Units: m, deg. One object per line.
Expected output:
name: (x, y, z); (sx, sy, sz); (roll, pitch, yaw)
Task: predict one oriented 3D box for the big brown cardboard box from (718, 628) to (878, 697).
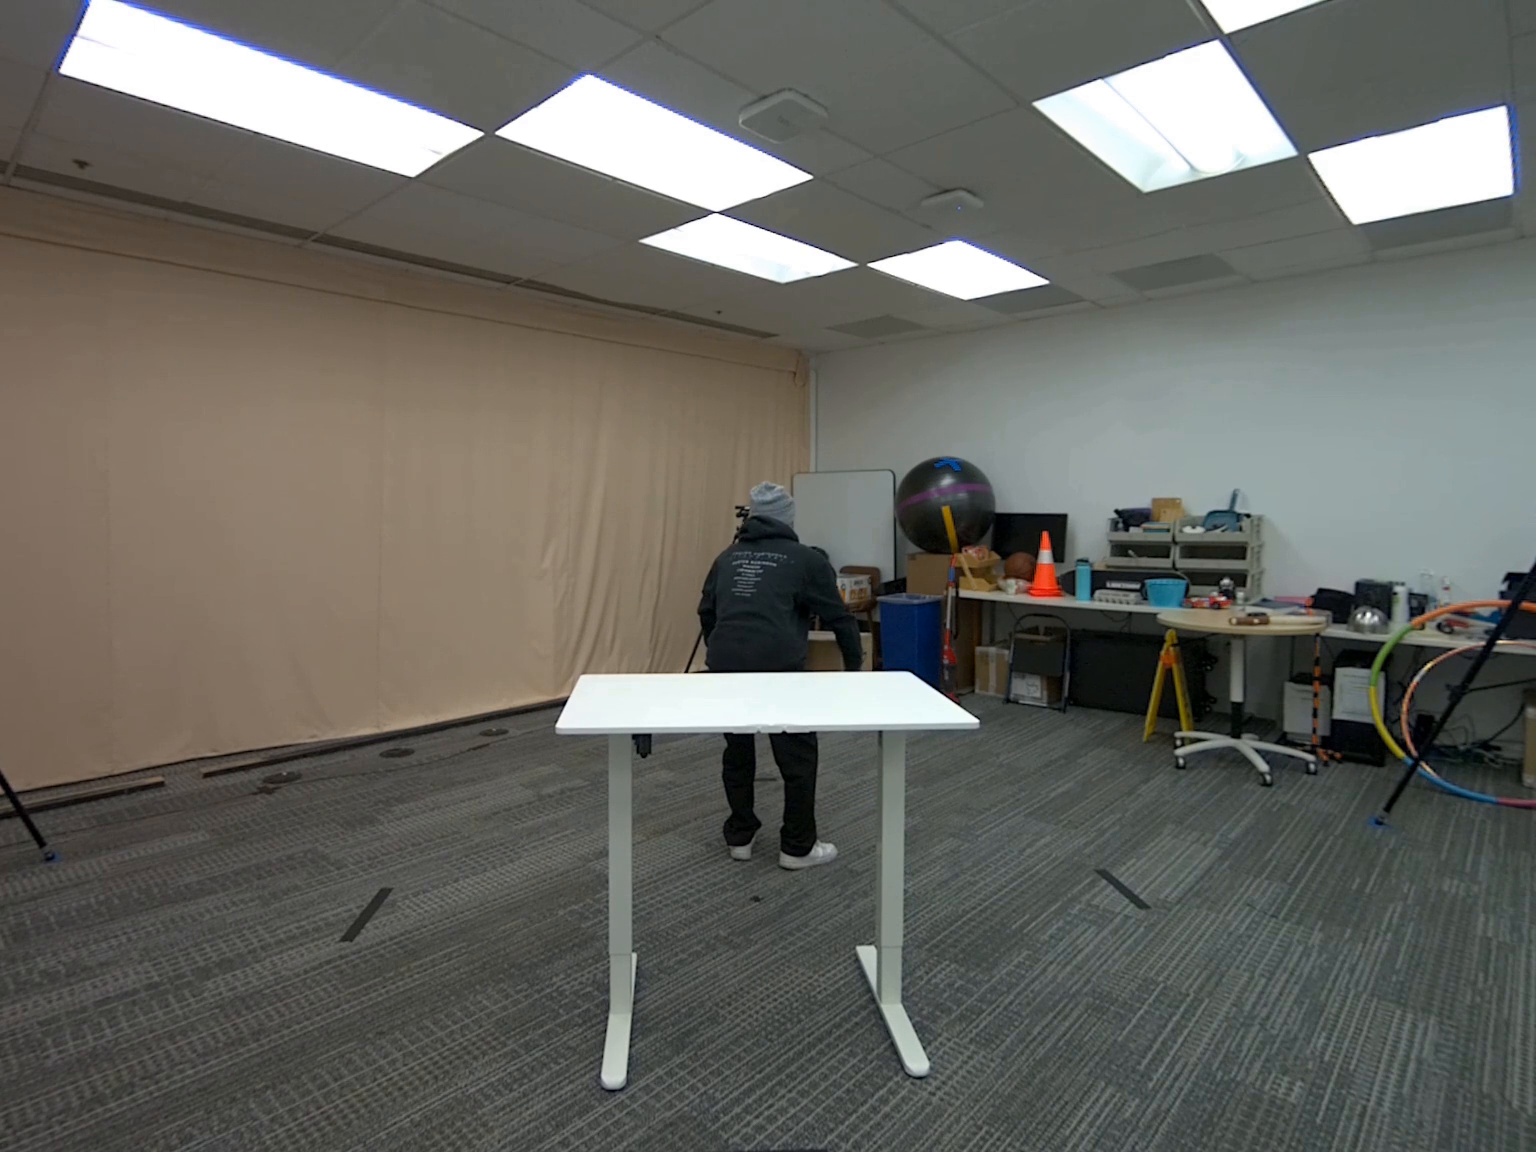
big brown cardboard box: (0.133, 0.366, 3.739); (0.604, 0.233, 0.407); (-1, 1, 25)
